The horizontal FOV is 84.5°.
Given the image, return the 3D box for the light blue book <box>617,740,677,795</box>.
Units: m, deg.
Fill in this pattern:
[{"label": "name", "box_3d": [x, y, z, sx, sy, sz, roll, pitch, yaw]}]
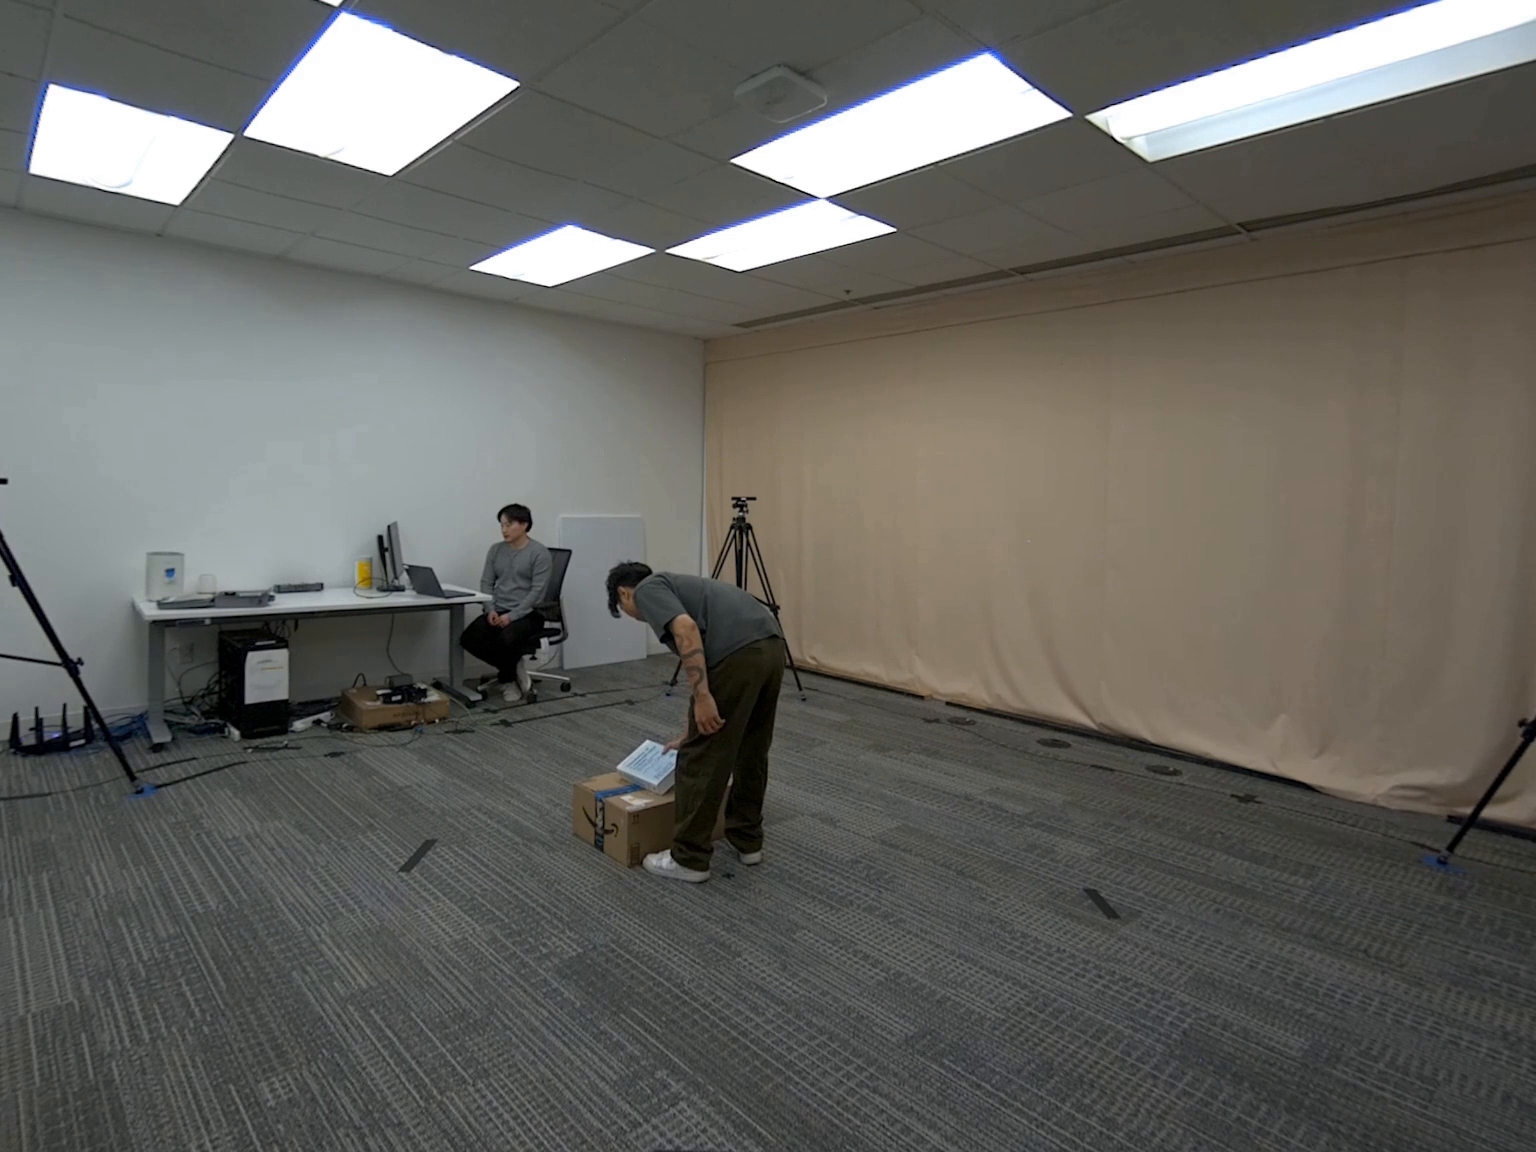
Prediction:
[{"label": "light blue book", "box_3d": [-0.481, 0.787, 3.460, 0.268, 0.058, 0.190, 7, 35, 43]}]
